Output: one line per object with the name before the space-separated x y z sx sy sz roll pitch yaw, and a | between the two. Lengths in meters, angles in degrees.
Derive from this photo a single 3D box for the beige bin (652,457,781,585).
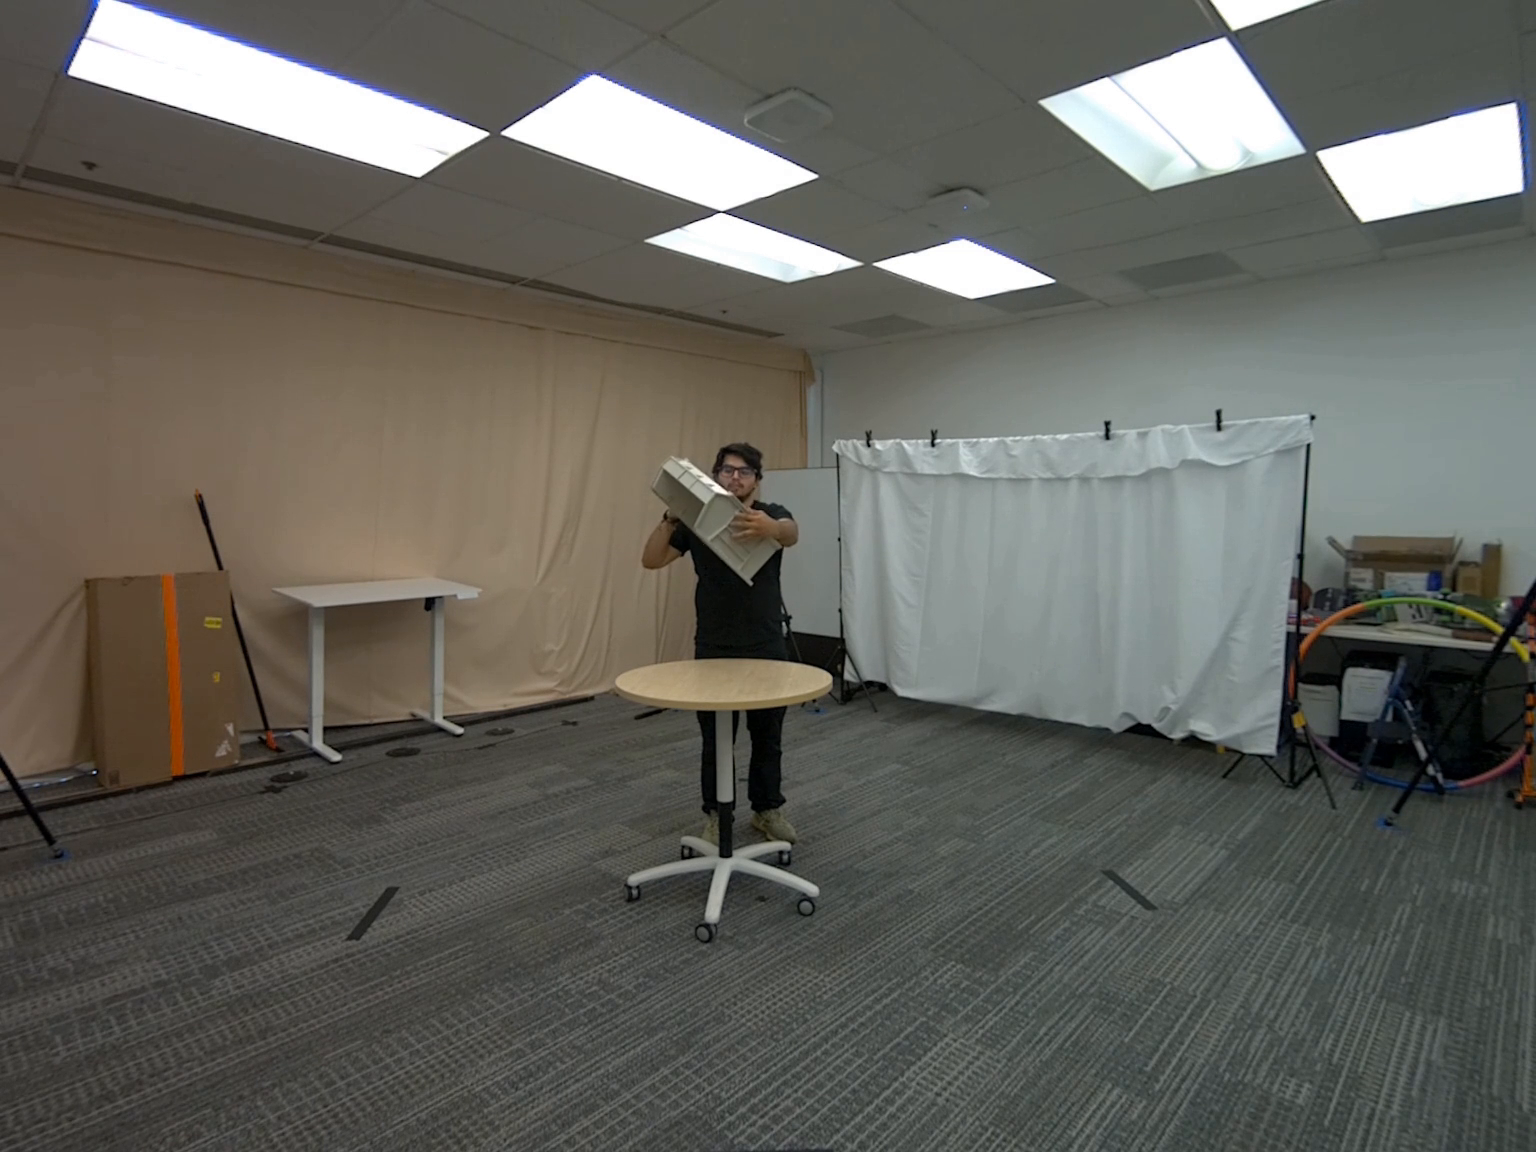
beige bin | -0.205 -0.219 3.085 0.365 0.189 0.437 48 -4 -37
